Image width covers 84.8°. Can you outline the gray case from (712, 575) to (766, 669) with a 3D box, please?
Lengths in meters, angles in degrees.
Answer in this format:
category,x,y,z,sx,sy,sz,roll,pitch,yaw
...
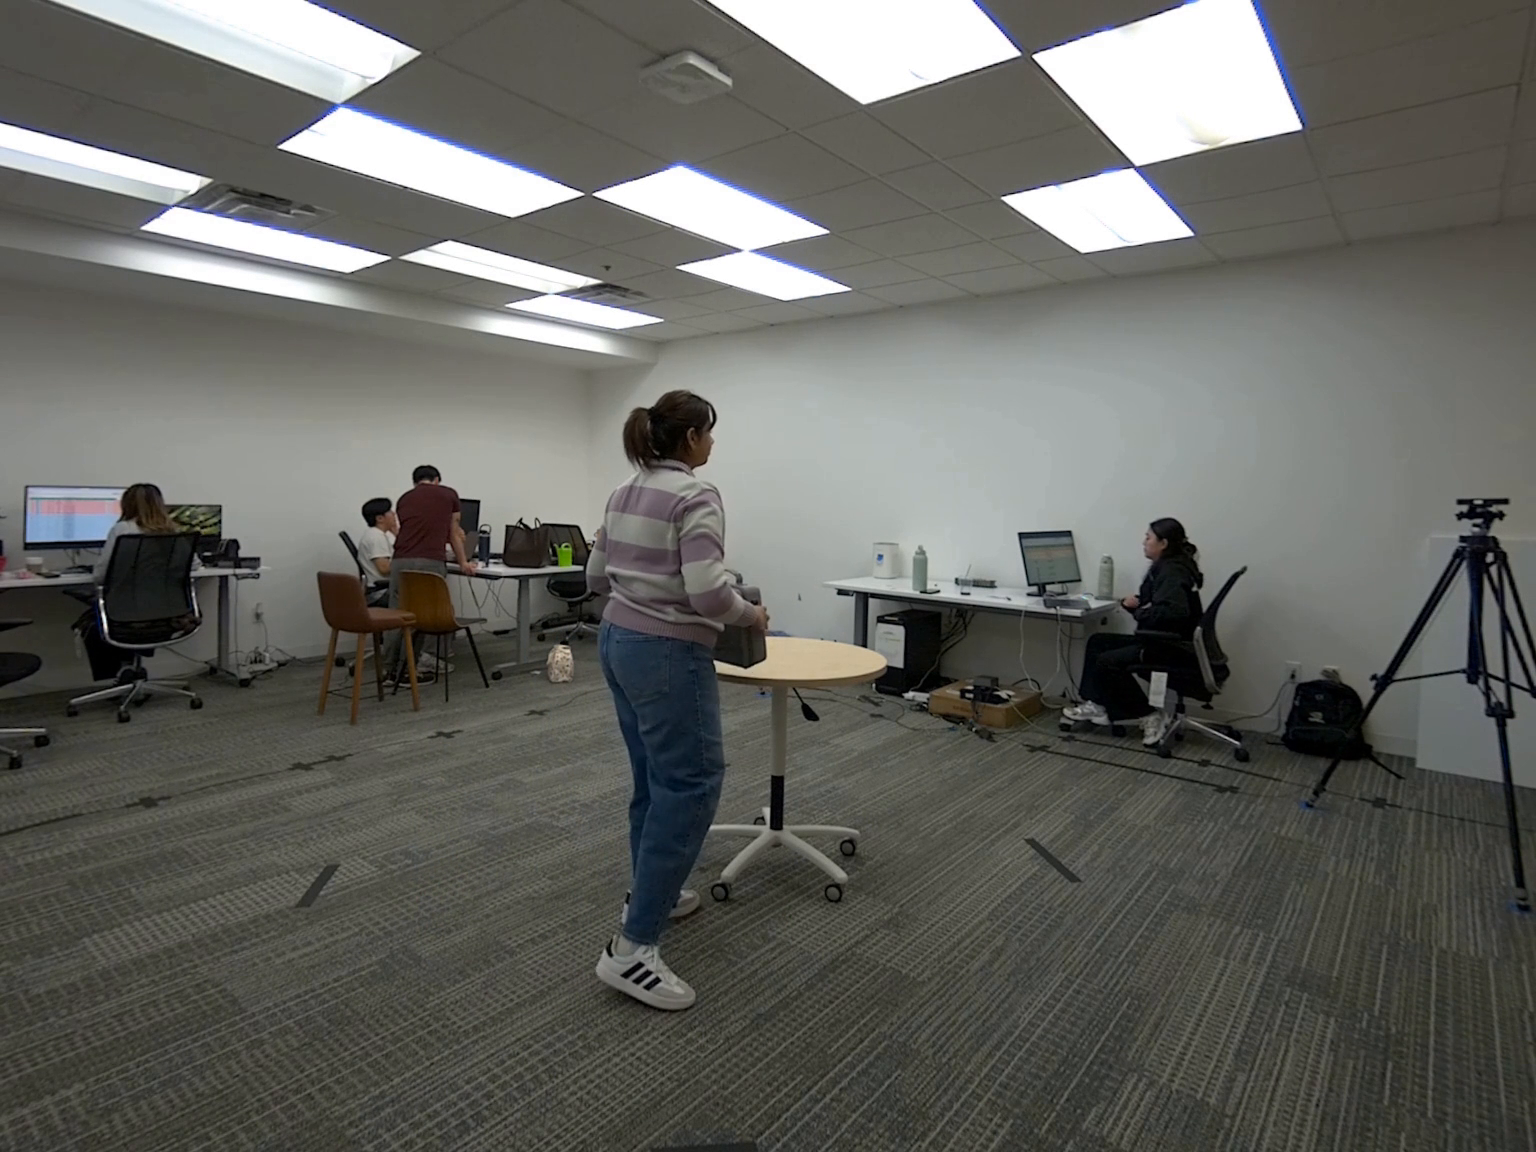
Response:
category,x,y,z,sx,sy,sz,roll,pitch,yaw
gray case,-0.132,0.150,2.696,0.102,0.259,0.265,-11,9,-39
